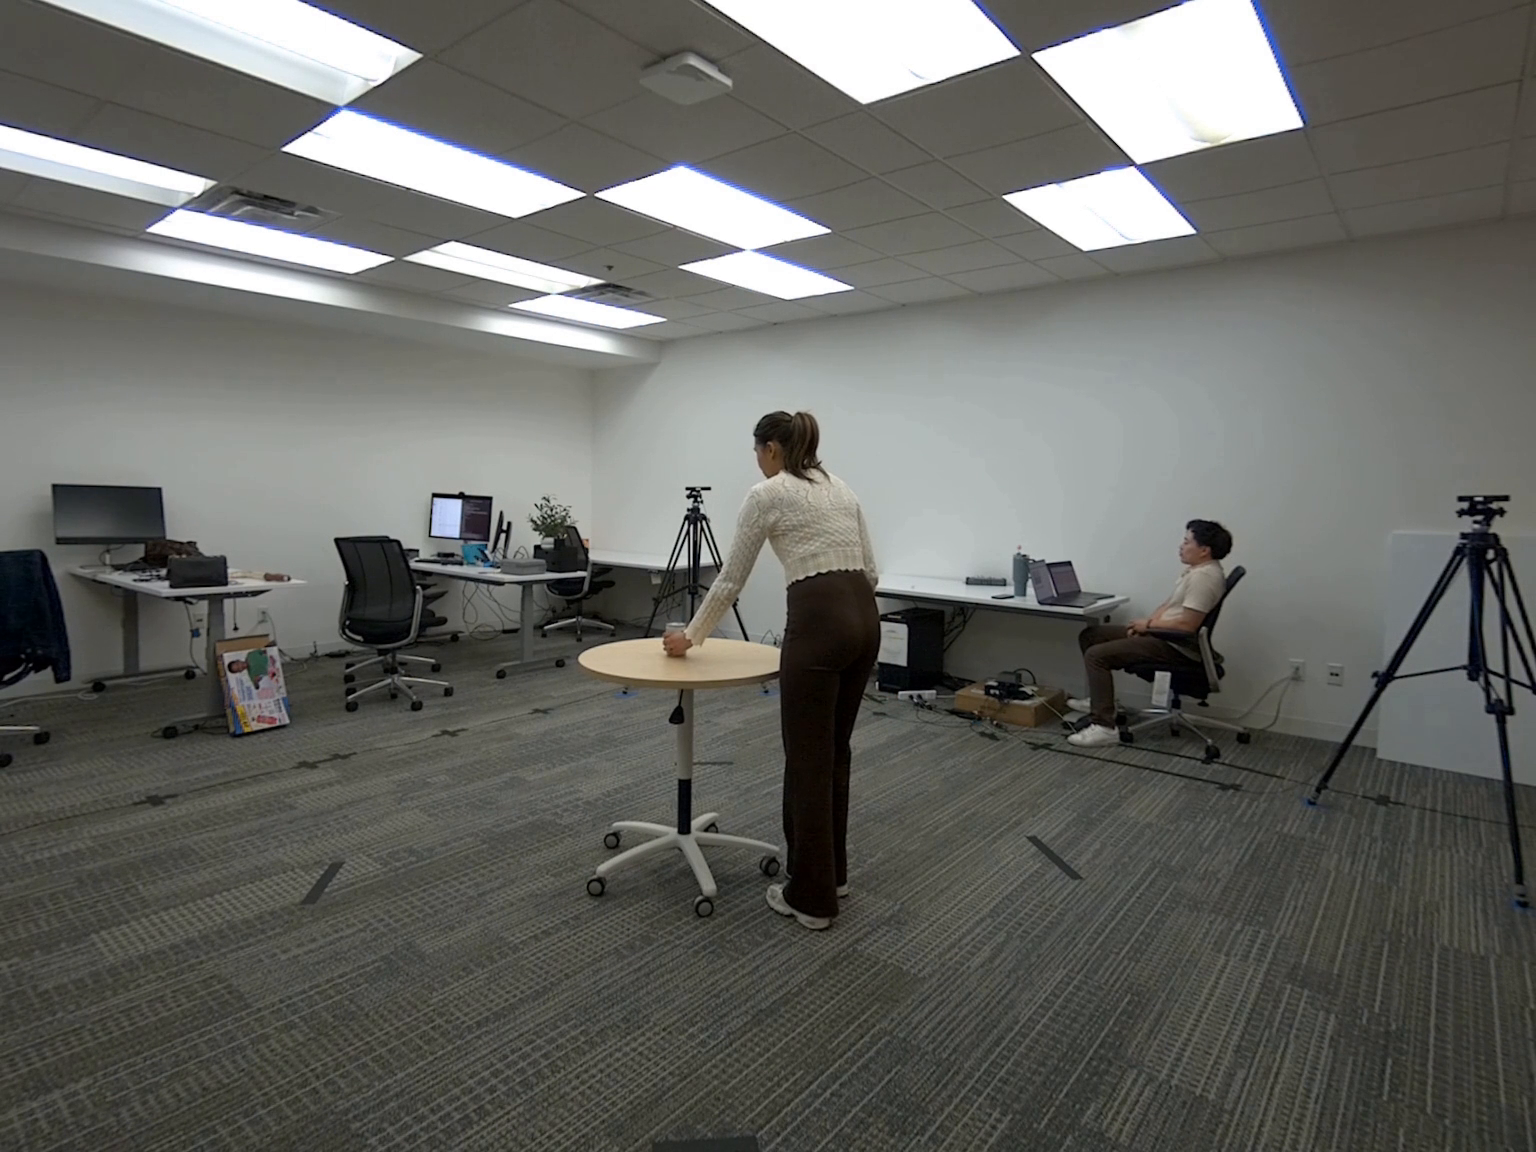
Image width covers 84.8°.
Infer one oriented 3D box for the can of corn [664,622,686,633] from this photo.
[{"bbox_3d":[-0.338,0.223,3.082,0.074,0.110,0.074,0,5,-2],"label":"can of corn"}]
